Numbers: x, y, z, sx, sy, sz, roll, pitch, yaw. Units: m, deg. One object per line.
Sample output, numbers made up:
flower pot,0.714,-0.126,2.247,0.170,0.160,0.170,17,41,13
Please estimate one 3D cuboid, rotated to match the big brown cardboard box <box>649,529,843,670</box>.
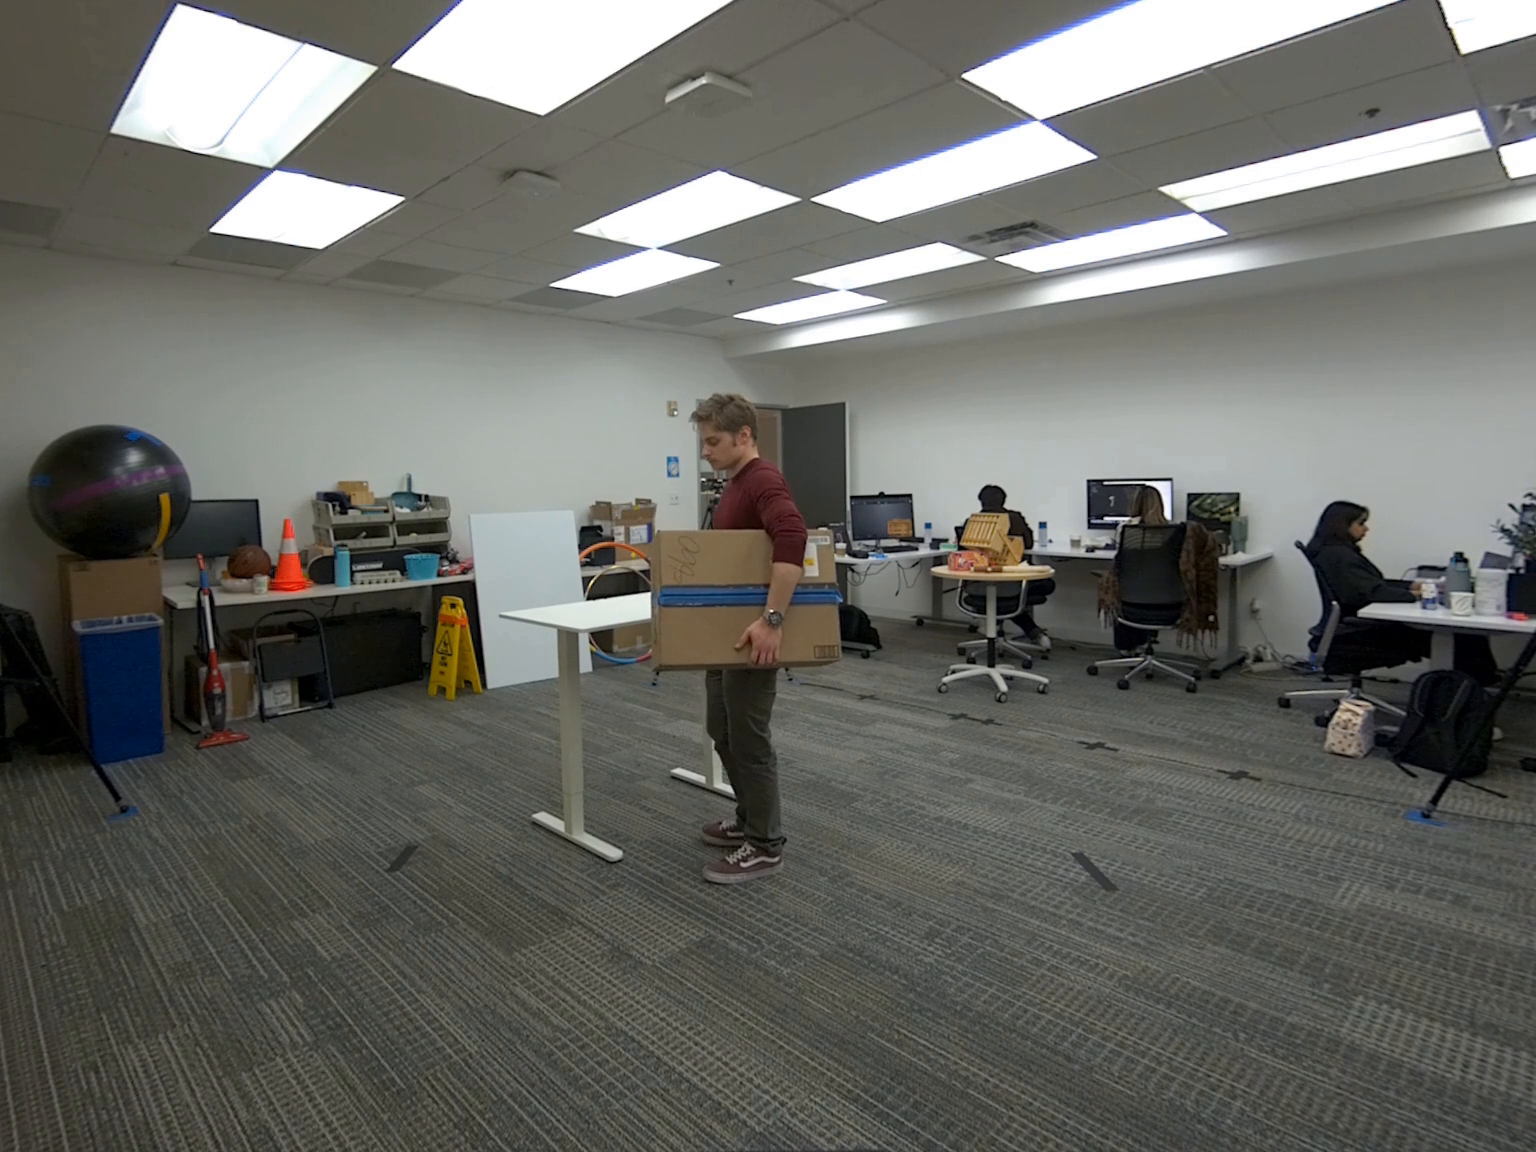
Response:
big brown cardboard box,-0.074,0.079,2.727,0.583,0.423,0.232,-1,-13,-11
